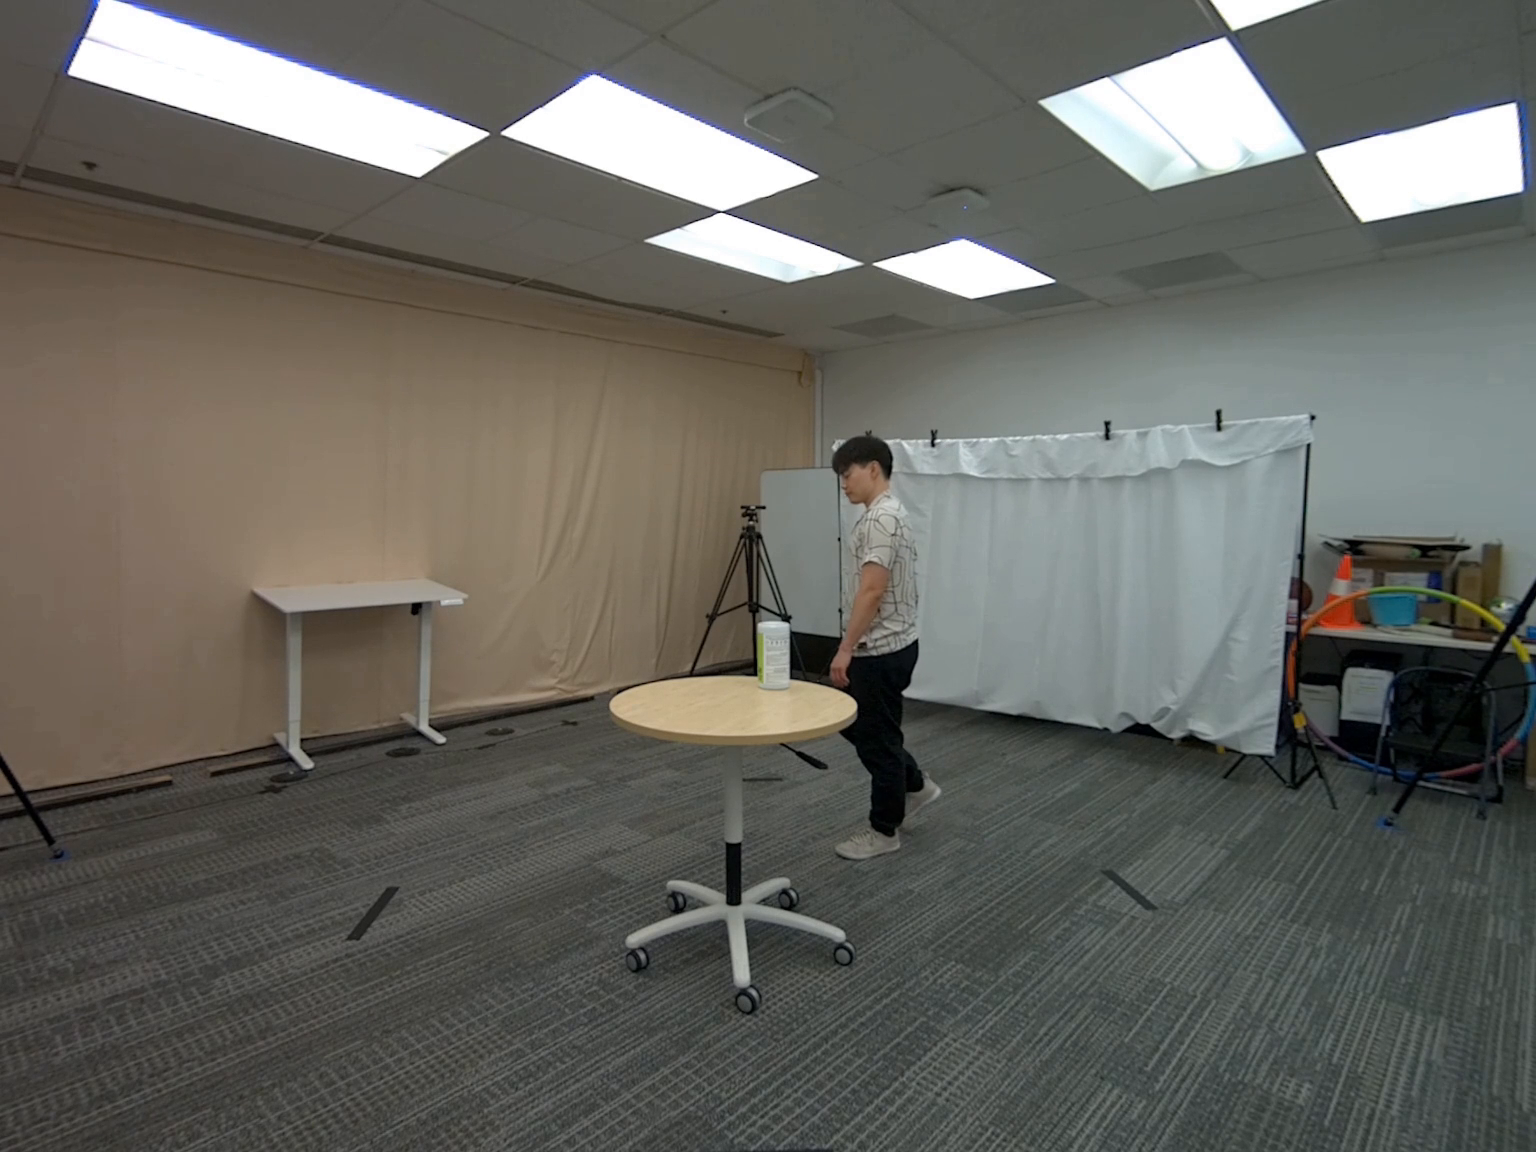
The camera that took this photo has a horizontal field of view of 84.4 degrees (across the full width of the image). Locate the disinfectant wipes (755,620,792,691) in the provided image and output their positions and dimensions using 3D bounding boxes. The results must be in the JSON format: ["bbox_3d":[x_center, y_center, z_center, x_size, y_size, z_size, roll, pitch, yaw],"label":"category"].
[{"bbox_3d":[0.021,0.266,2.826,0.118,0.217,0.118,0,2,-2],"label":"disinfectant wipes"}]
